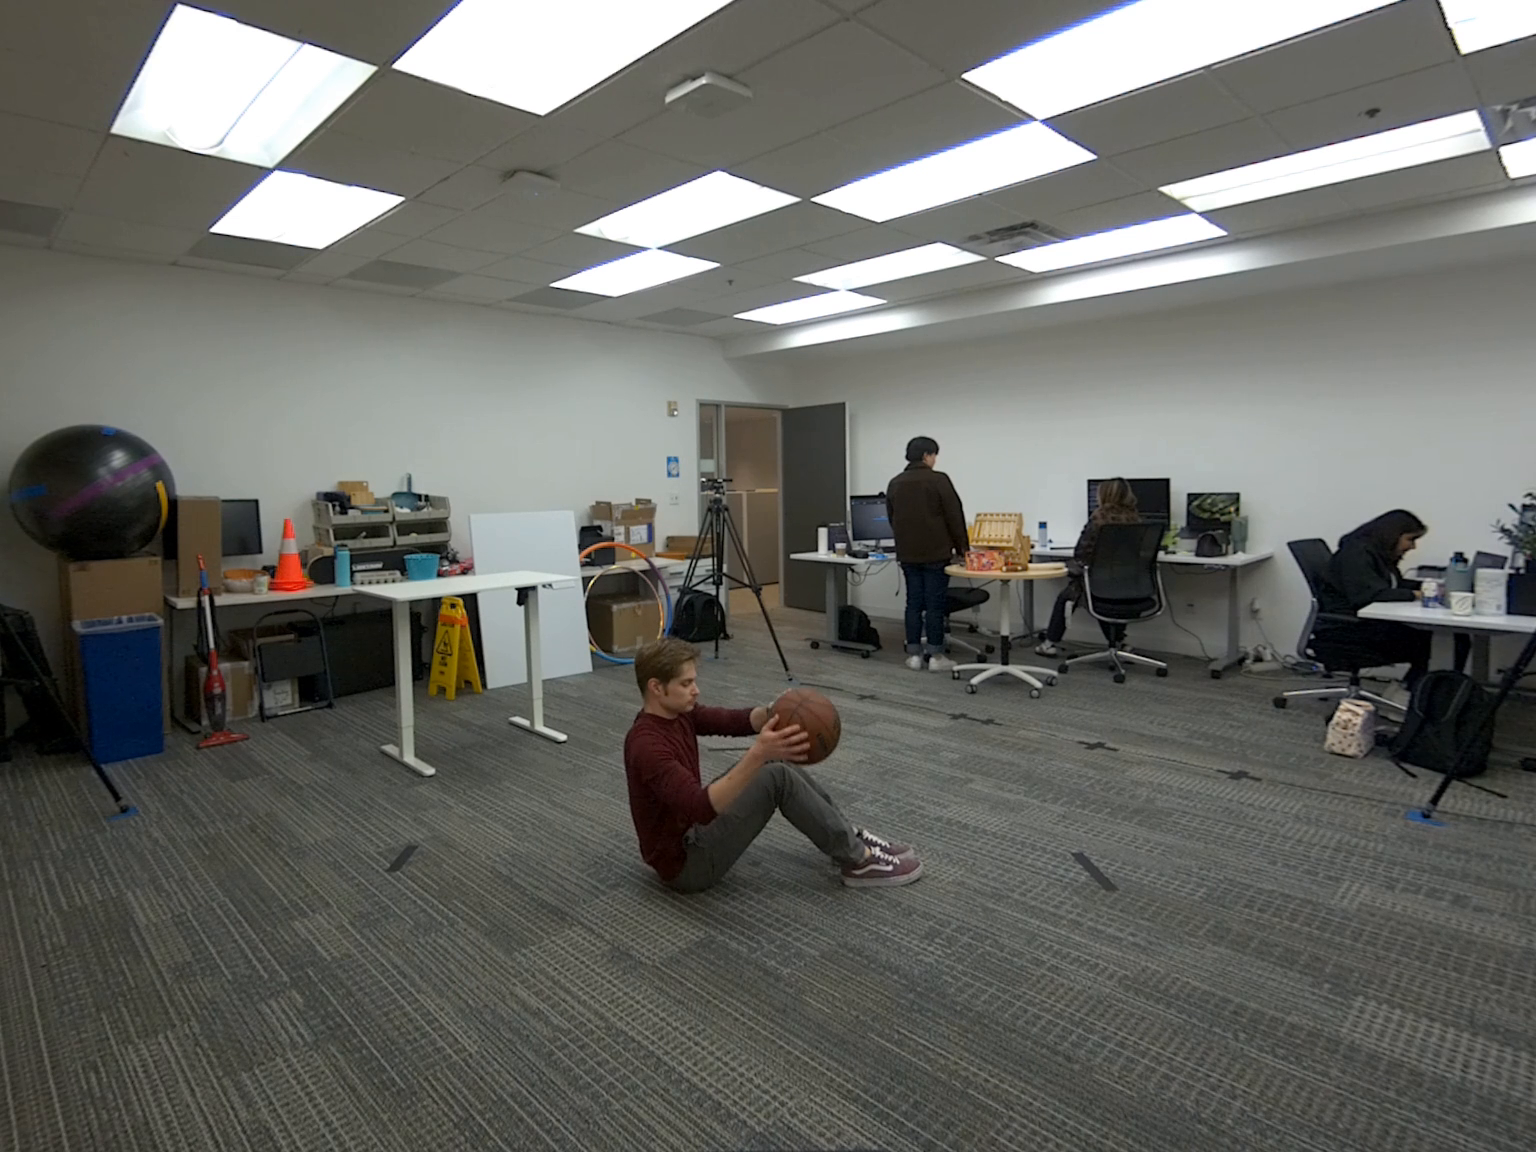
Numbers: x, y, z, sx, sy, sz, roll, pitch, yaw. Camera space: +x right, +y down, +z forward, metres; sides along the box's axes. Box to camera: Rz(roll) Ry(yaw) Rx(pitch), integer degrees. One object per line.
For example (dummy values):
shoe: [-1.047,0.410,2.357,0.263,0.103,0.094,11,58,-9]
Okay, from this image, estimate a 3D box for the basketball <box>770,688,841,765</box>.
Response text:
basketball: [0.108,0.492,2.741,0.236,0.235,0.237,-1,5,-2]
